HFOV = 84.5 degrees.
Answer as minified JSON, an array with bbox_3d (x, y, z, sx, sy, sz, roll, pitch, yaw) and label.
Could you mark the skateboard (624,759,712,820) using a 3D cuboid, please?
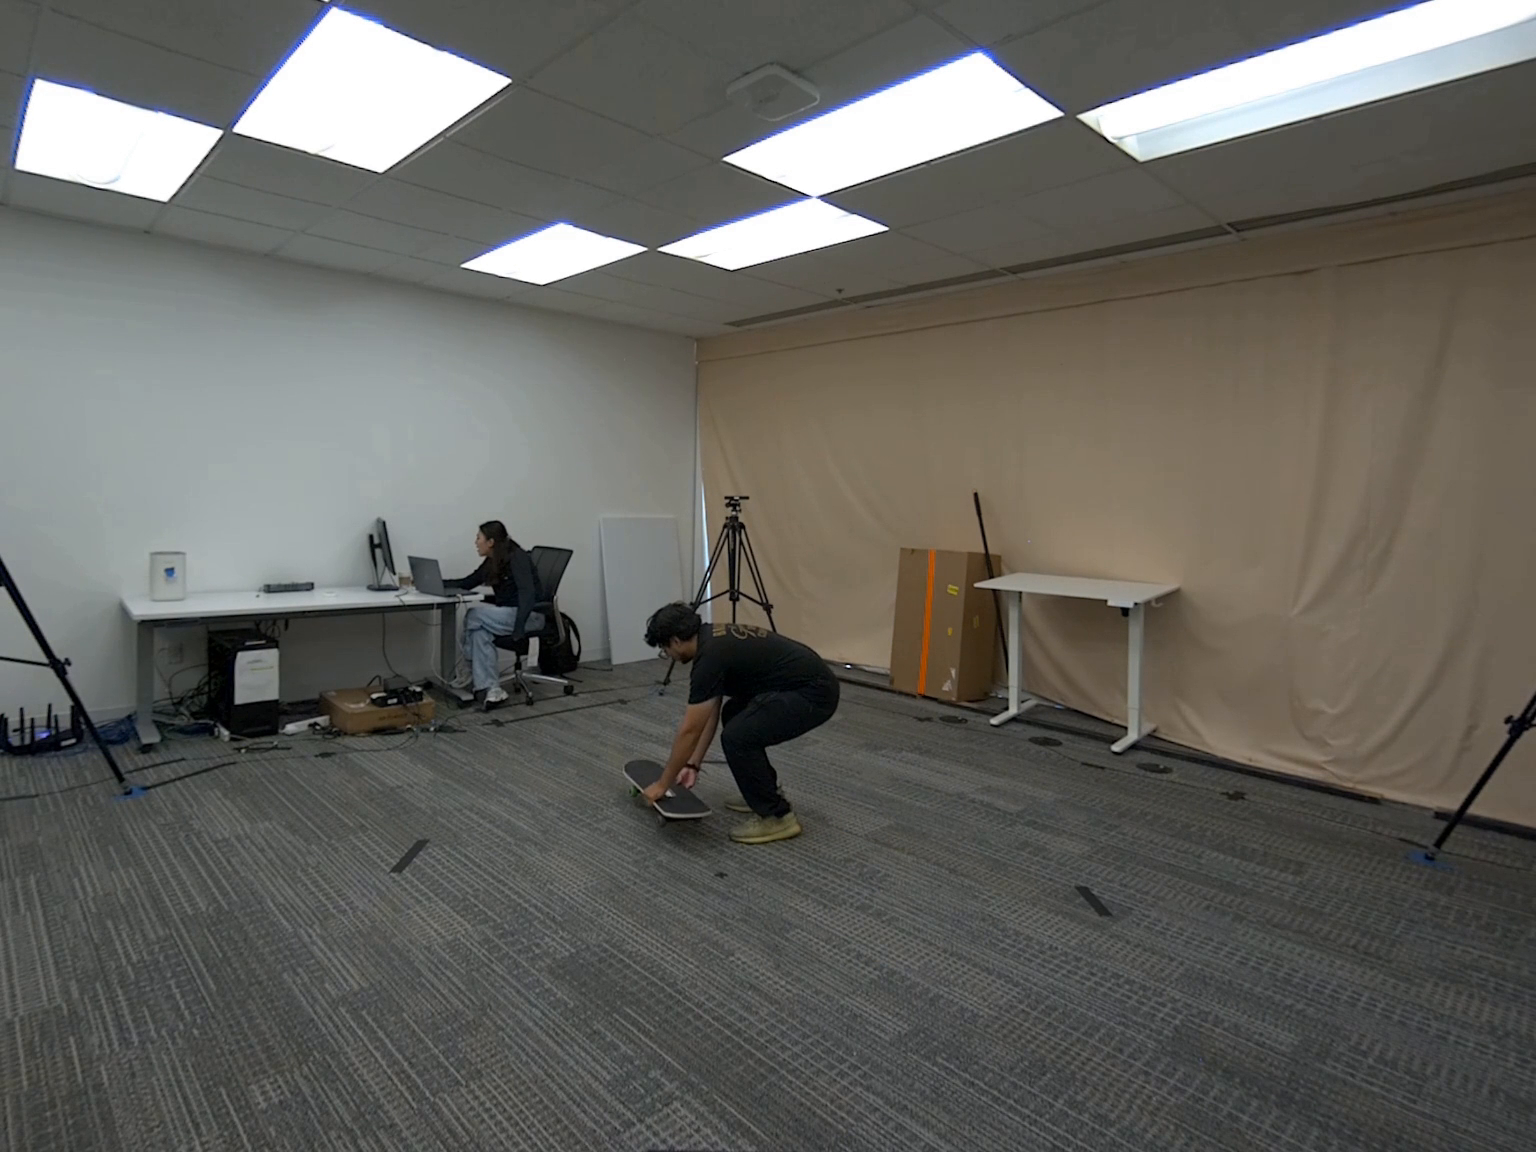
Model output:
[{"bbox_3d":[-0.451,0.940,3.603,0.190,0.110,0.800,-1,4,-23],"label":"skateboard"}]
